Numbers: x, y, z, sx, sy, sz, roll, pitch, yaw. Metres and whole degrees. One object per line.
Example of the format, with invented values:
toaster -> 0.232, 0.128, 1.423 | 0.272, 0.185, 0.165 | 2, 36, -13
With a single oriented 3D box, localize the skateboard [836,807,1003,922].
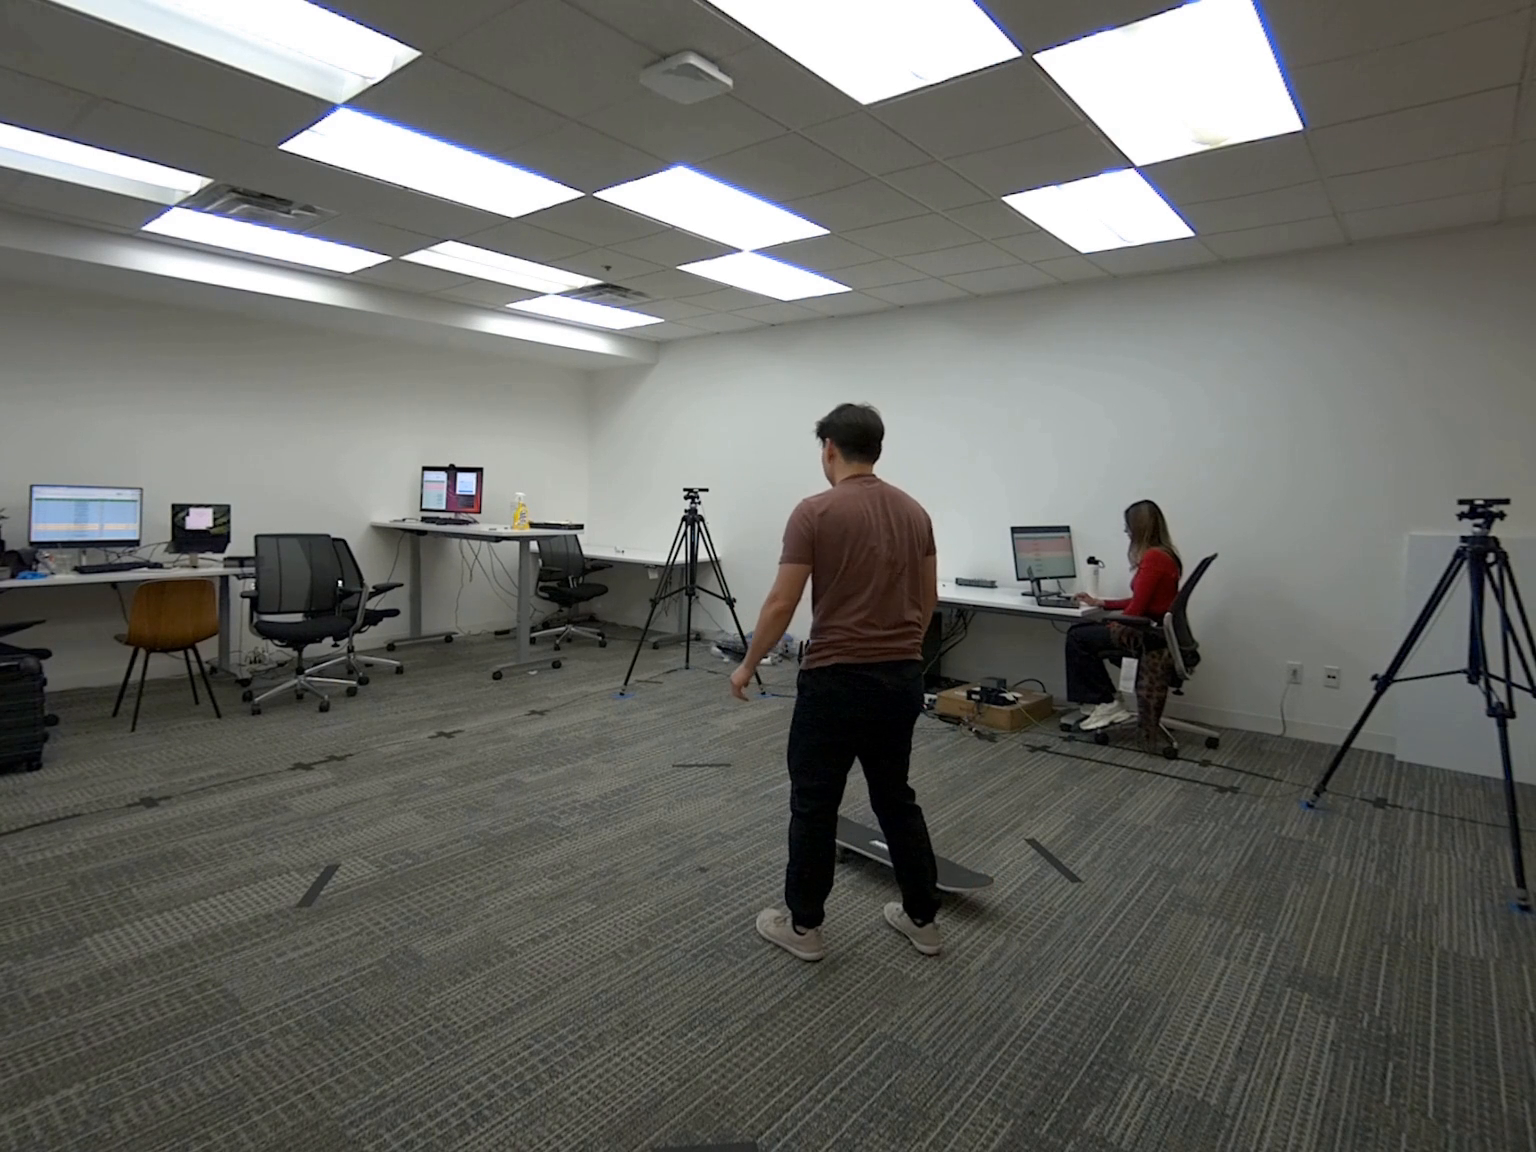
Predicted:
skateboard -> 0.449, 1.026, 3.091 | 0.187, 0.110, 0.813 | -1, 6, -42
